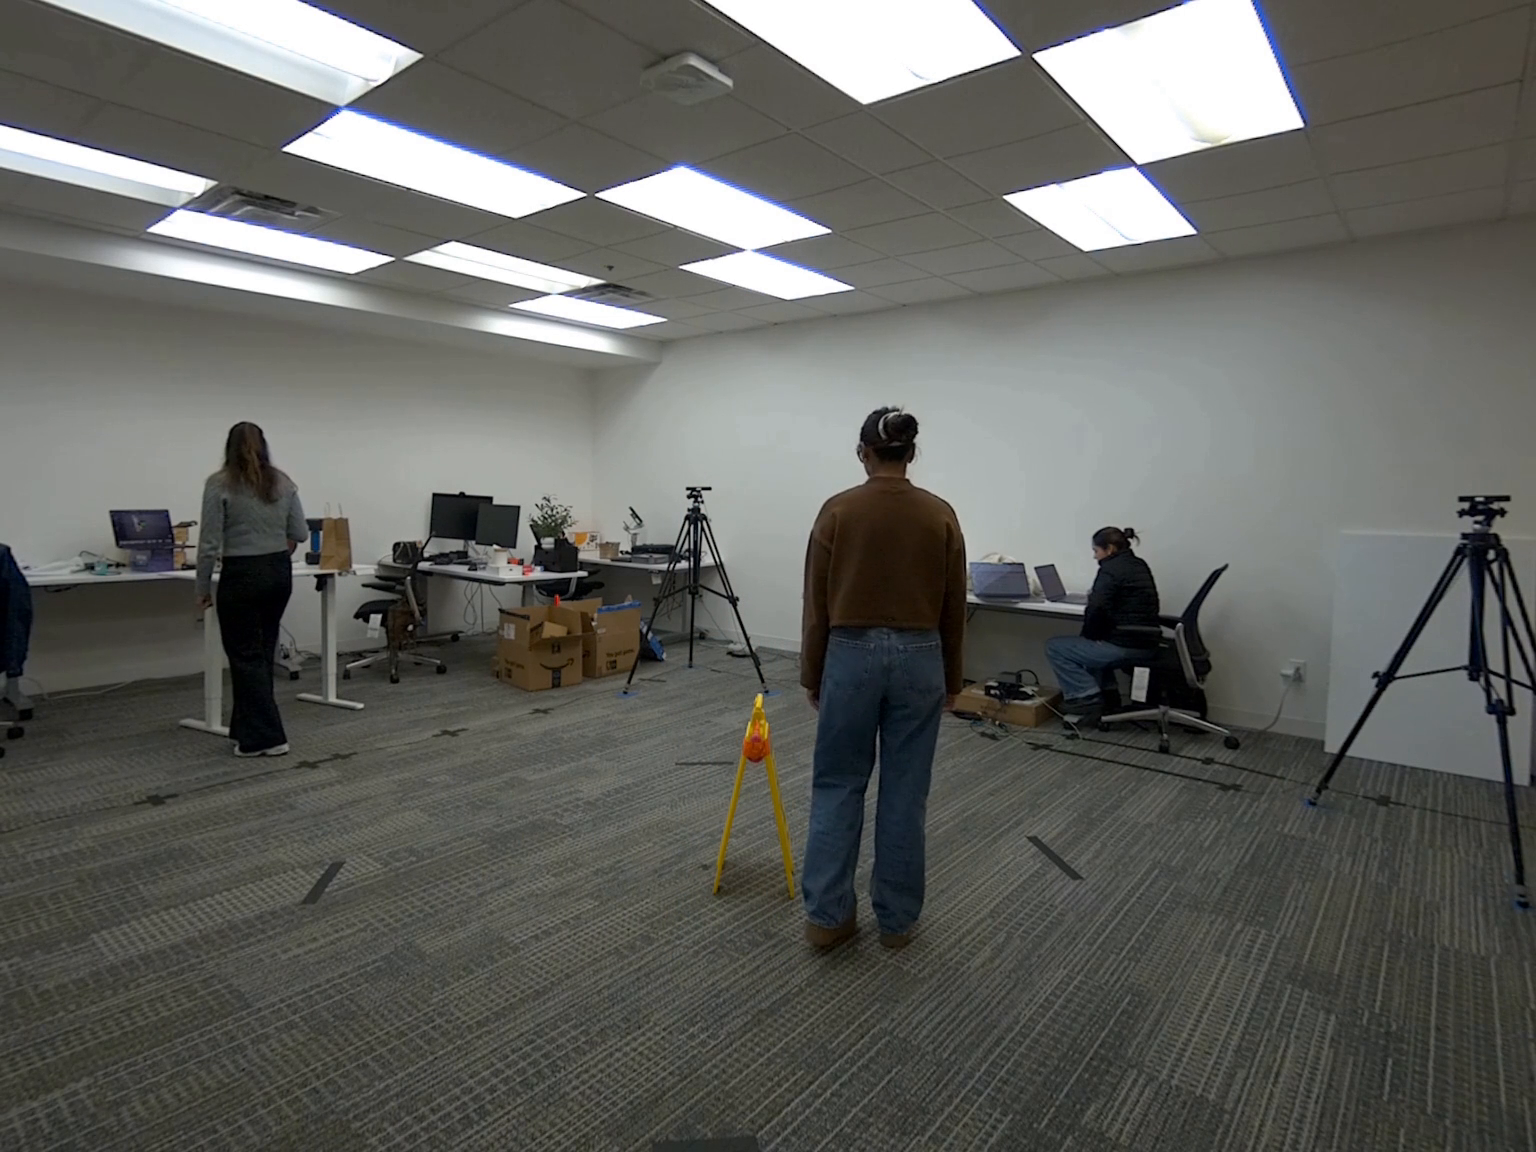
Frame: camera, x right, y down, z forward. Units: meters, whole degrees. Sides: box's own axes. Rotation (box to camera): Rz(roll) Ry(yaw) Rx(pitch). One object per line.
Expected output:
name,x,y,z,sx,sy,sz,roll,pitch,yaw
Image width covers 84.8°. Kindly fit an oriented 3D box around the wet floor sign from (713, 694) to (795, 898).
wet floor sign,-0.047,0.756,3.019,0.291,0.644,0.282,2,3,2
